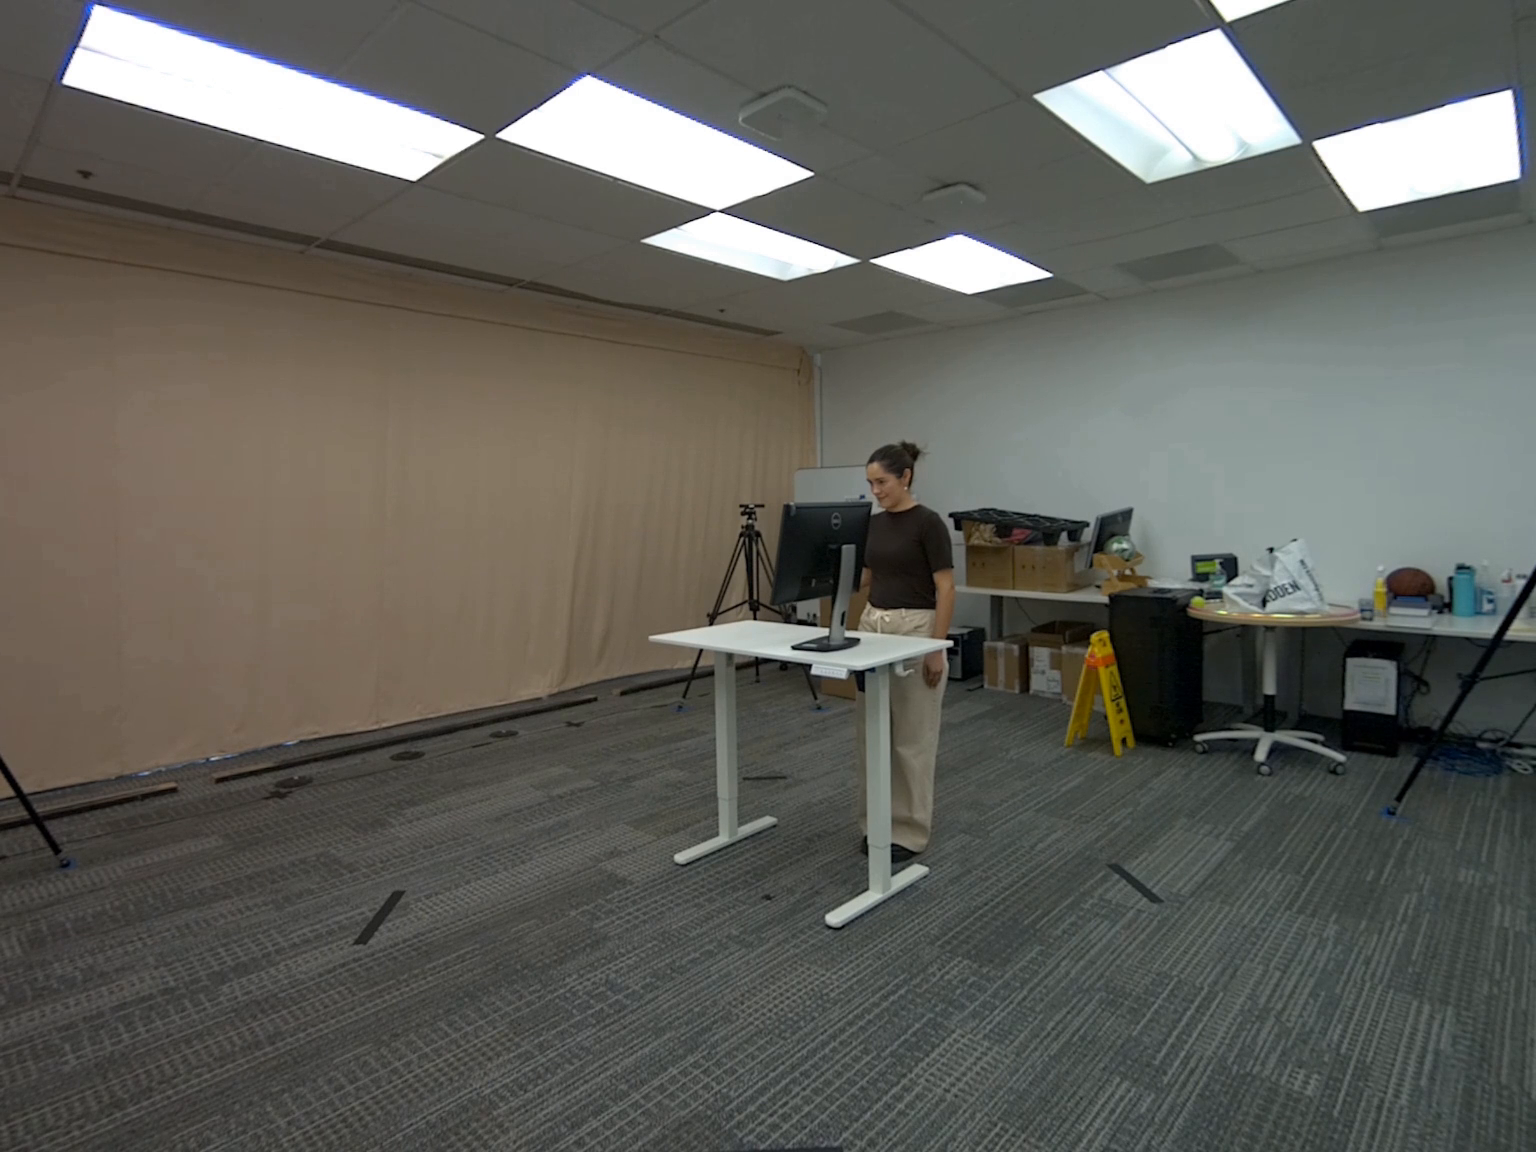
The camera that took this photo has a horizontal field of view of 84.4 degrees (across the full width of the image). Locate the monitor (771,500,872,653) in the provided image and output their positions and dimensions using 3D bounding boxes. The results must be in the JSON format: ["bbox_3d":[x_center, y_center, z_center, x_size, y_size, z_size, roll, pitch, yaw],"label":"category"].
[{"bbox_3d":[0.224,-0.001,2.993,0.193,0.522,0.523,0,3,41],"label":"monitor"}]
